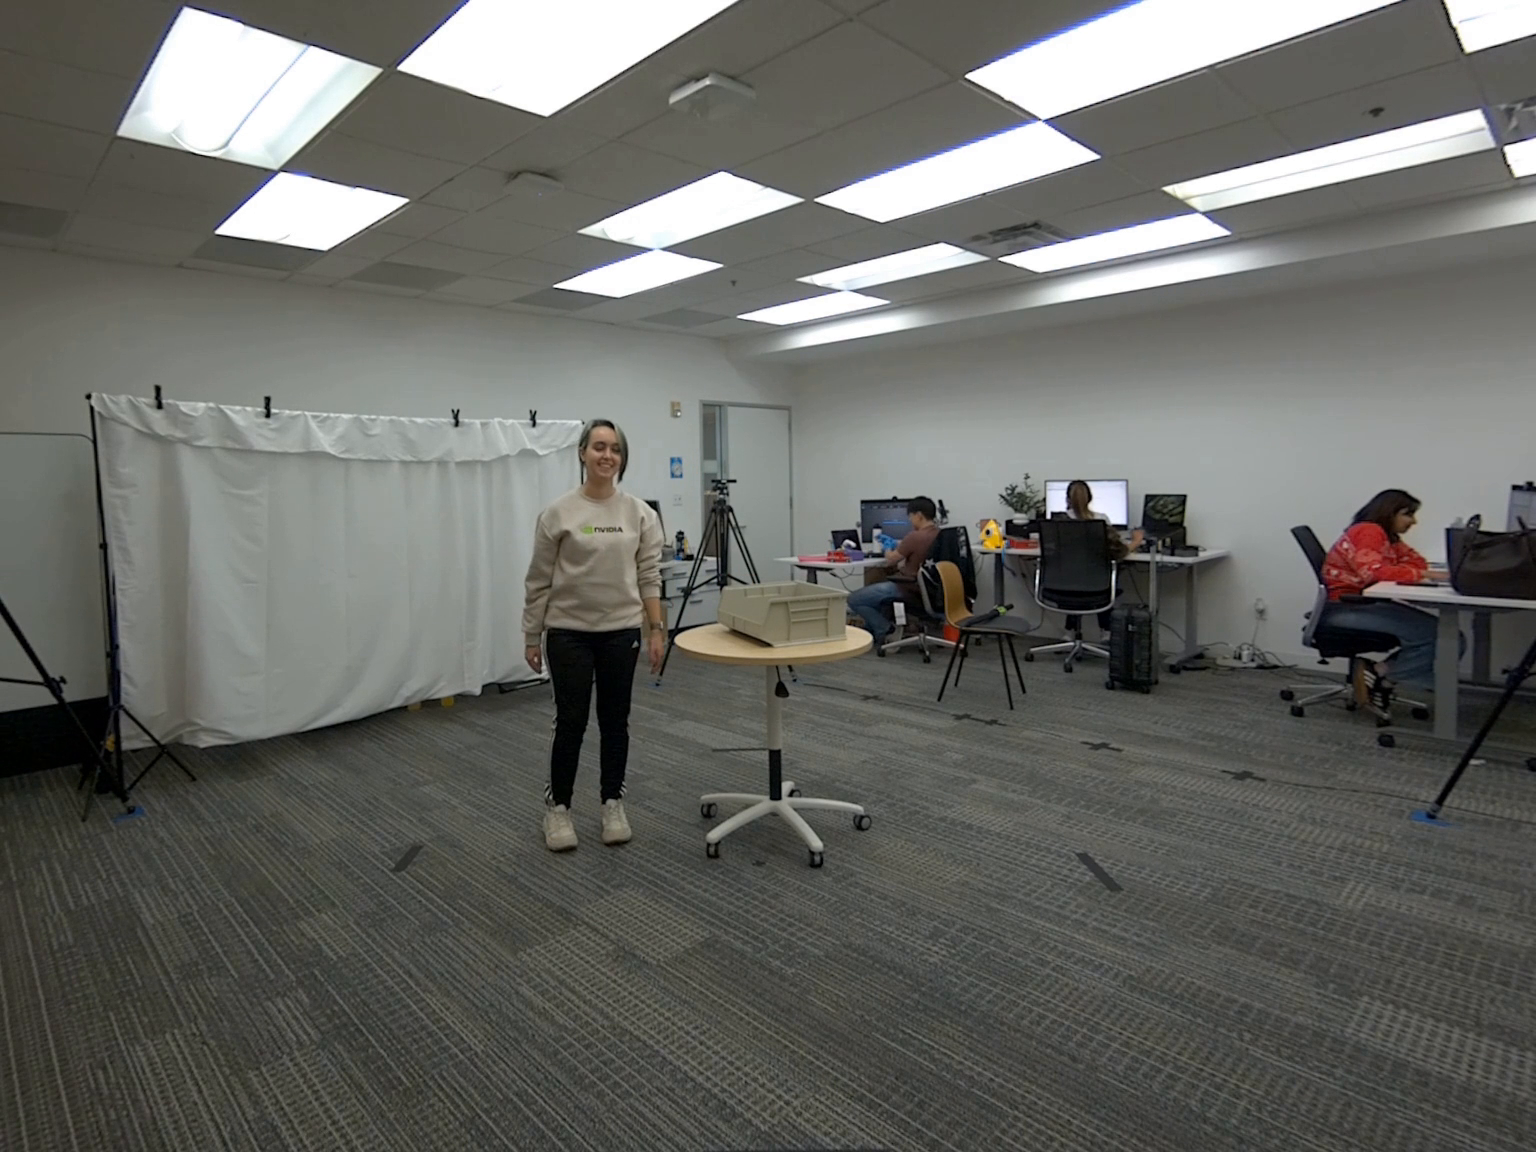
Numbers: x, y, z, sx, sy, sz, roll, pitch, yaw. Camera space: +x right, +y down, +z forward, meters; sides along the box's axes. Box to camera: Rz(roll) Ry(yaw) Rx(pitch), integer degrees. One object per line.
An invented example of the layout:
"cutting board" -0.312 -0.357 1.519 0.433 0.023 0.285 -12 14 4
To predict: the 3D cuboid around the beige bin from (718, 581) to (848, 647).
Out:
"beige bin" 0.050 0.144 3.339 0.369 0.188 0.433 -2 6 -25
